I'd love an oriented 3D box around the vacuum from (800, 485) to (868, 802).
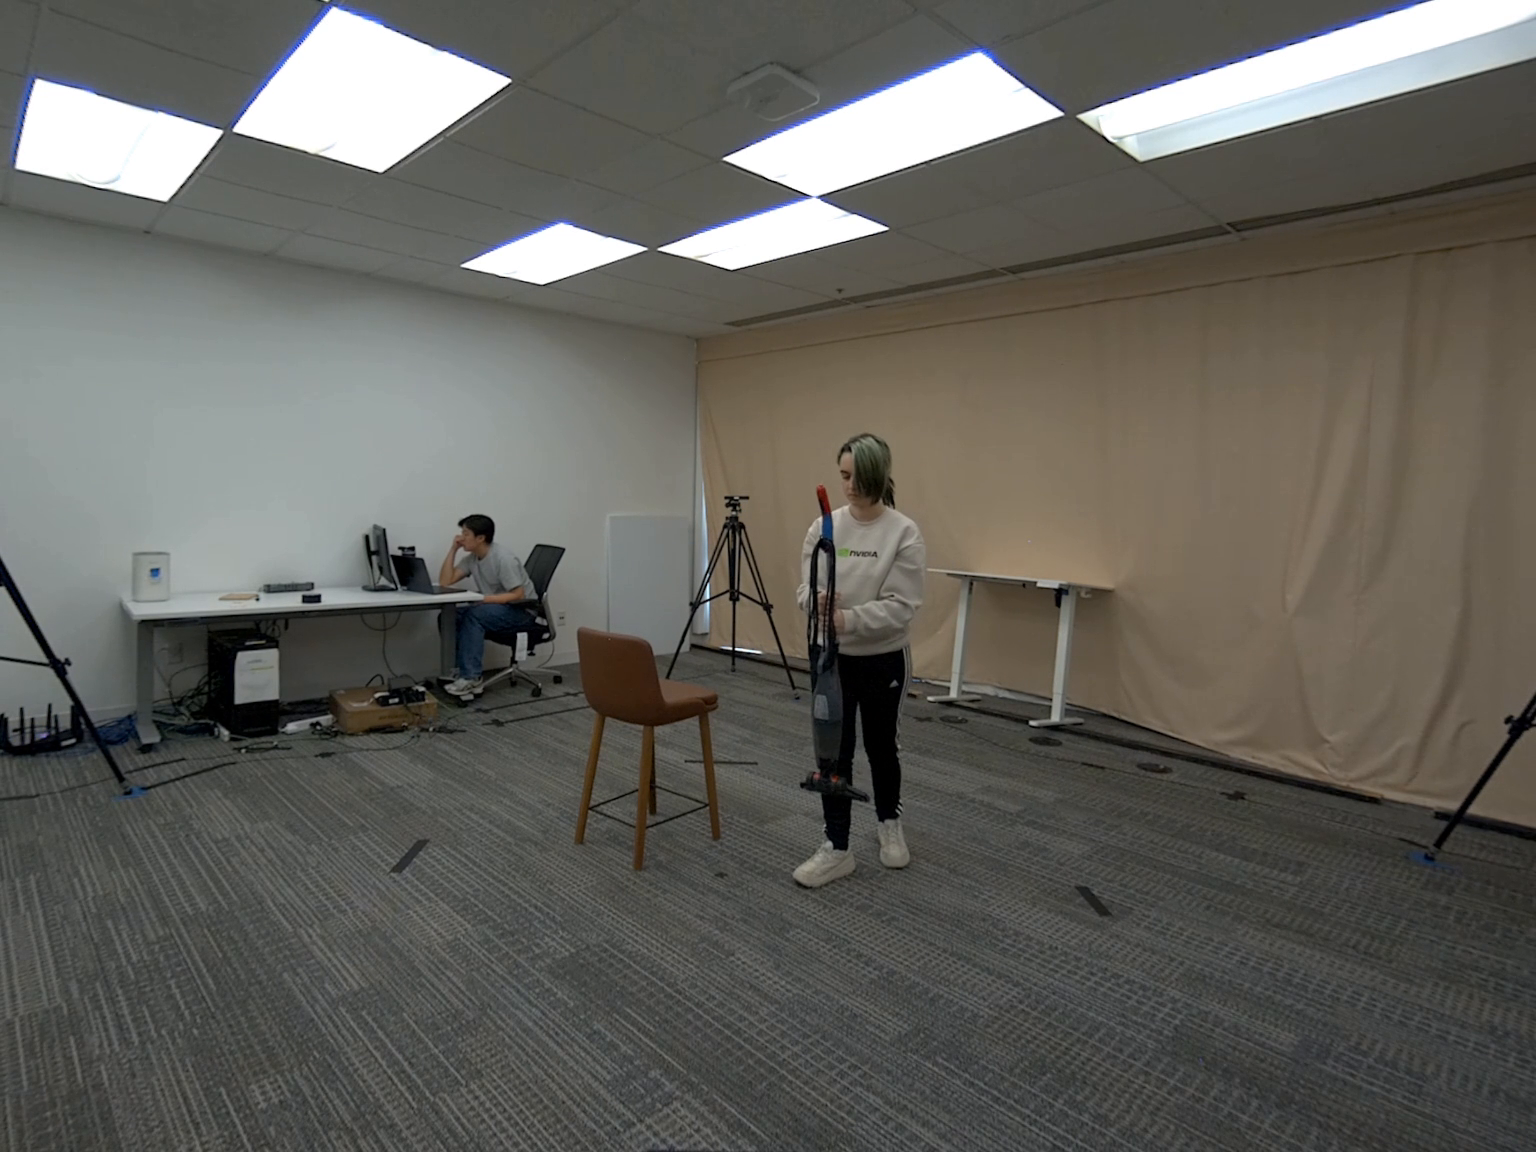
[{"bbox_3d":[0.185,0.221,2.831,0.258,1.040,0.142,3,12,28],"label":"vacuum"}]
